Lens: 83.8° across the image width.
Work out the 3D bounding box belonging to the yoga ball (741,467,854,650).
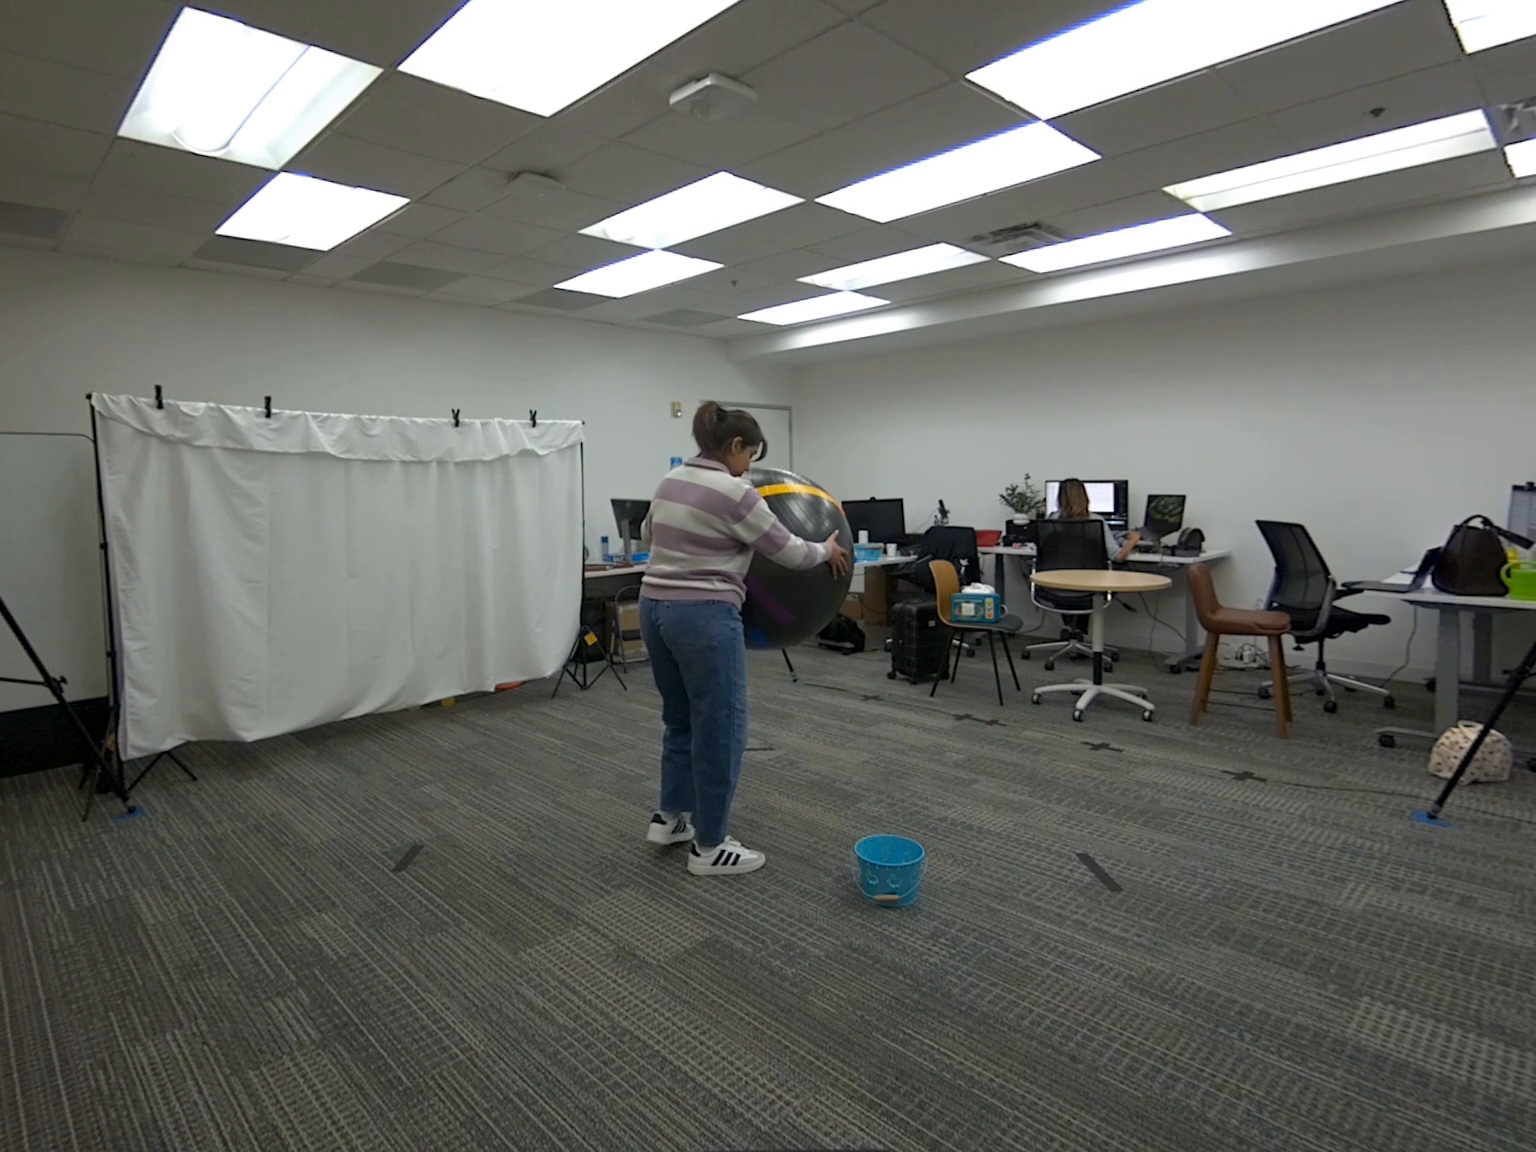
[{"bbox_3d":[-0.016,-0.067,3.562,0.757,0.755,0.762,-1,5,-2],"label":"yoga ball"}]
